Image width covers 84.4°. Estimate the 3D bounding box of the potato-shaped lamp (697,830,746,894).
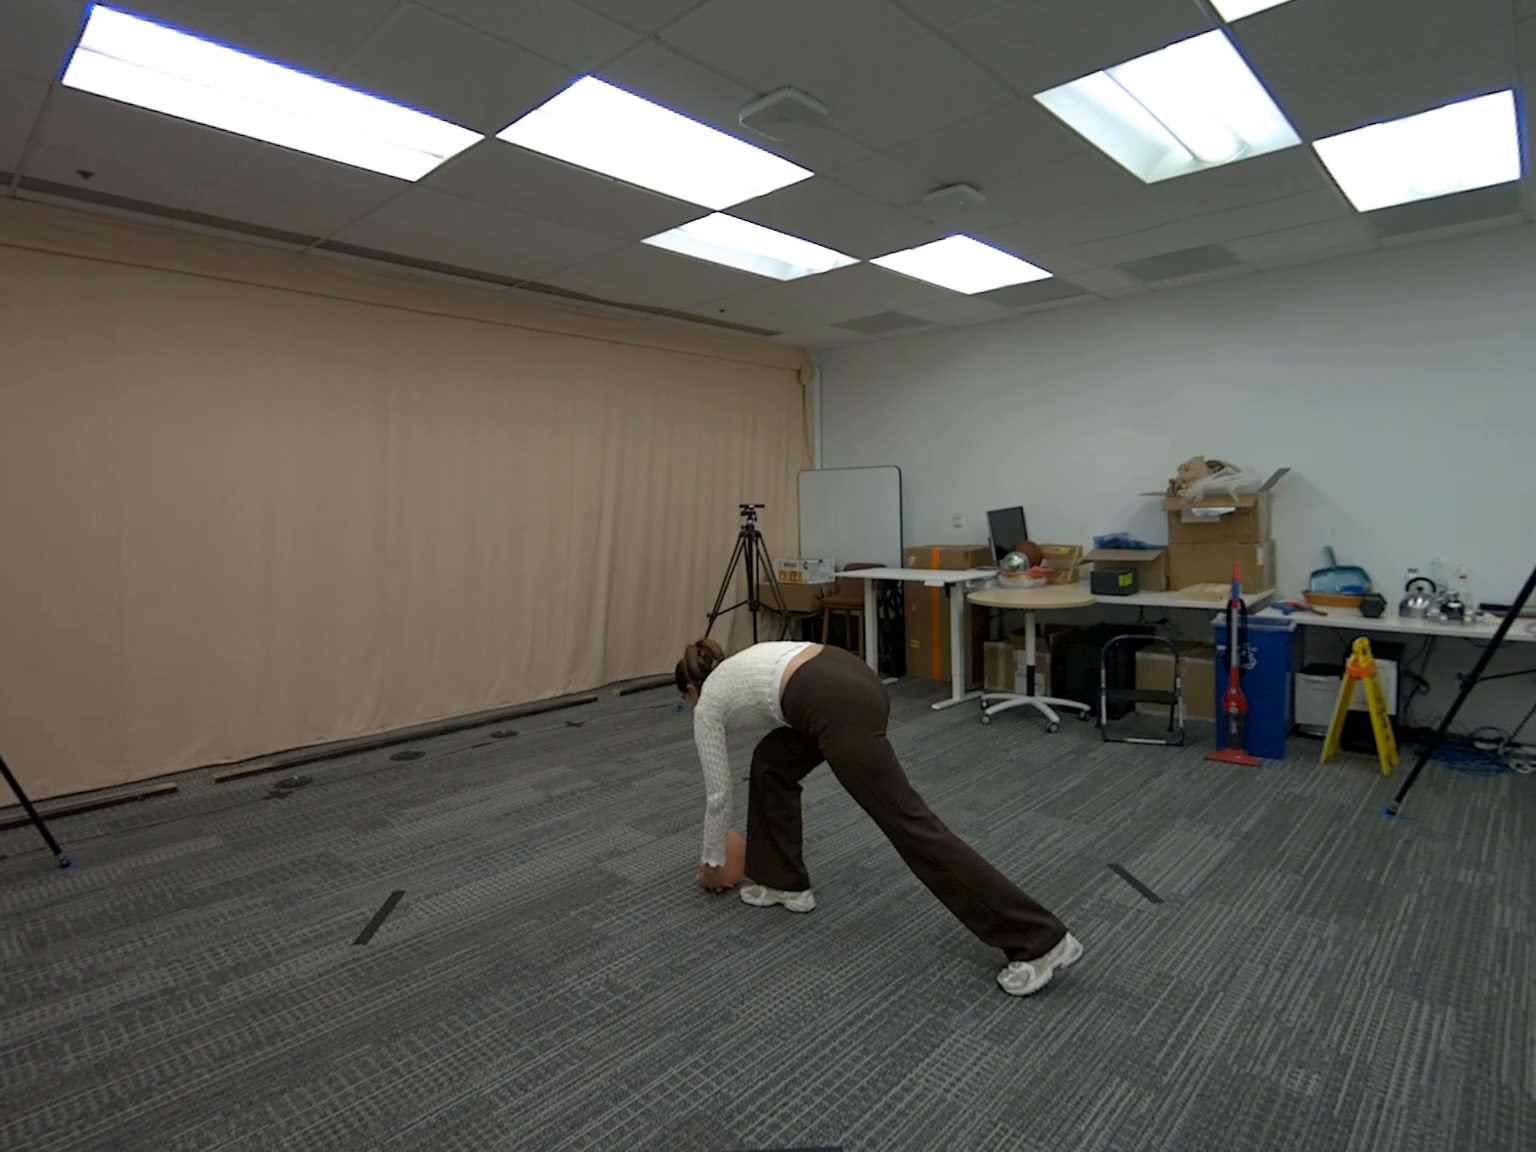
[{"bbox_3d":[-0.161,1.027,3.087,0.177,0.198,0.159,7,-1,34],"label":"potato-shaped lamp"}]
